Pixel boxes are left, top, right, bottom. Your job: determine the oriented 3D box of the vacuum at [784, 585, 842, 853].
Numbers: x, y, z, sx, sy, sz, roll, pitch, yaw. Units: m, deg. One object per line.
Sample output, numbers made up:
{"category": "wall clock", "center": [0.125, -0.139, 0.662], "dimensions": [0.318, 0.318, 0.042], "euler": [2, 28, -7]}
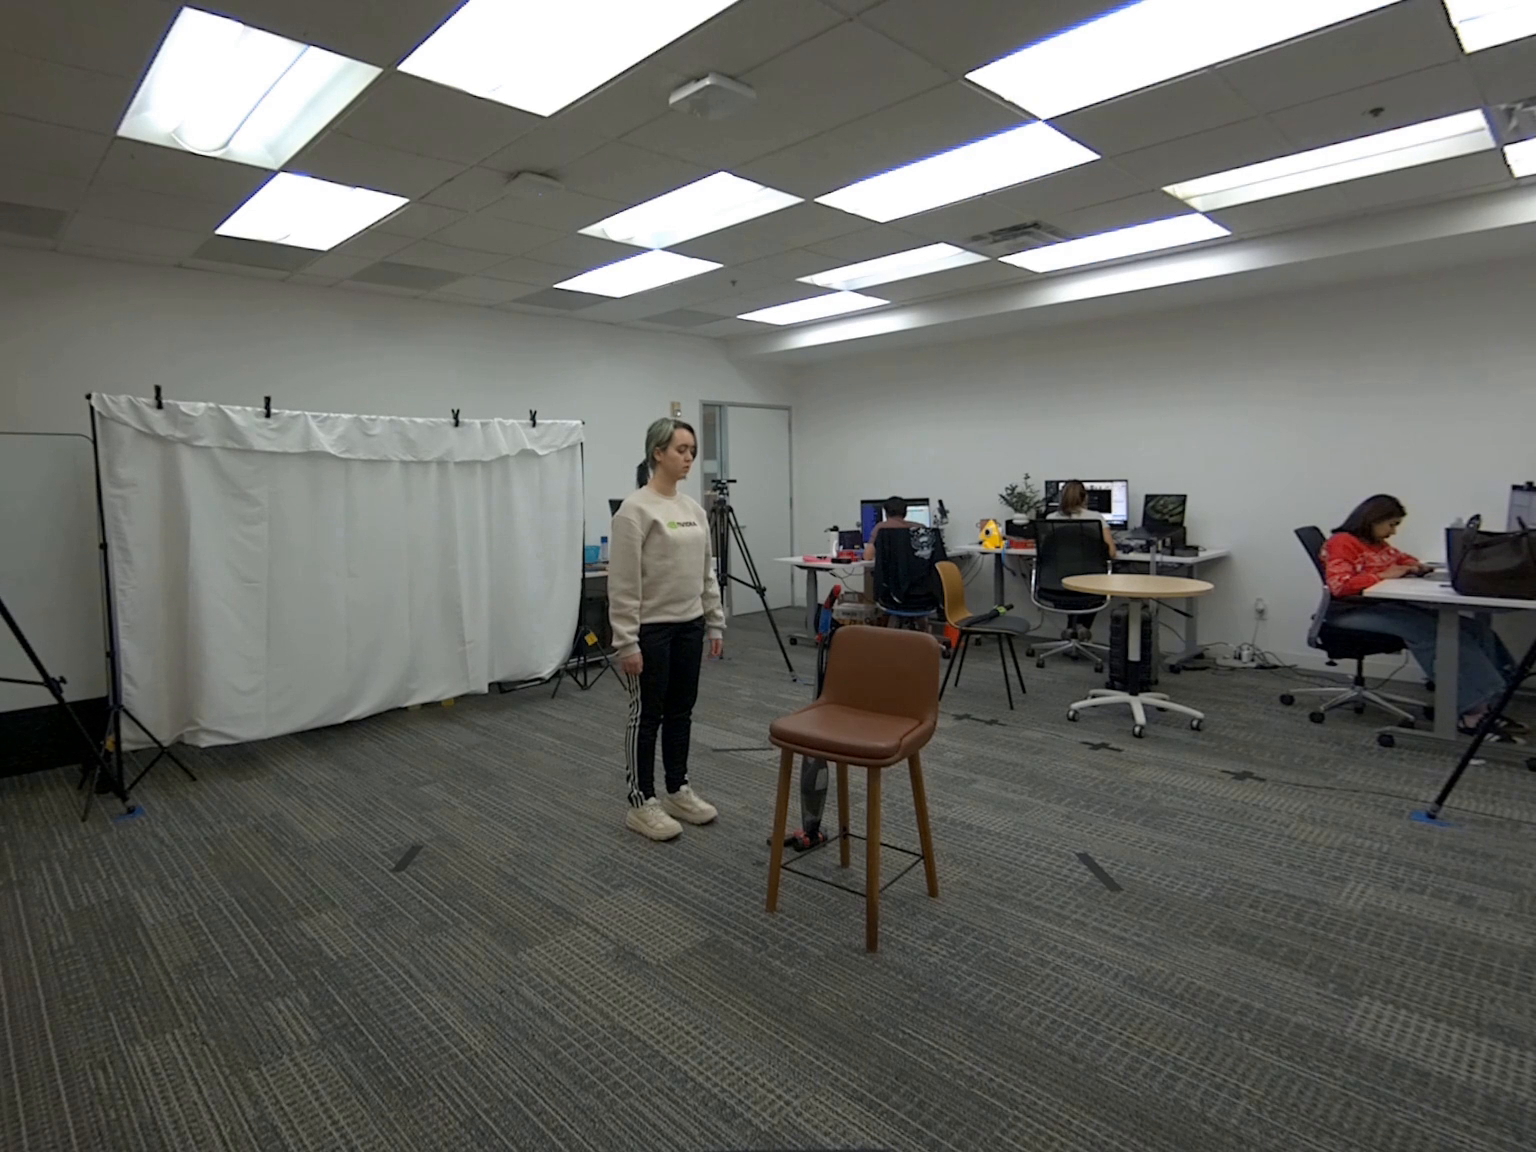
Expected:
{"category": "vacuum", "center": [0.196, 0.533, 3.141], "dimensions": [0.246, 1.036, 0.149], "euler": [-3, 18, -30]}
